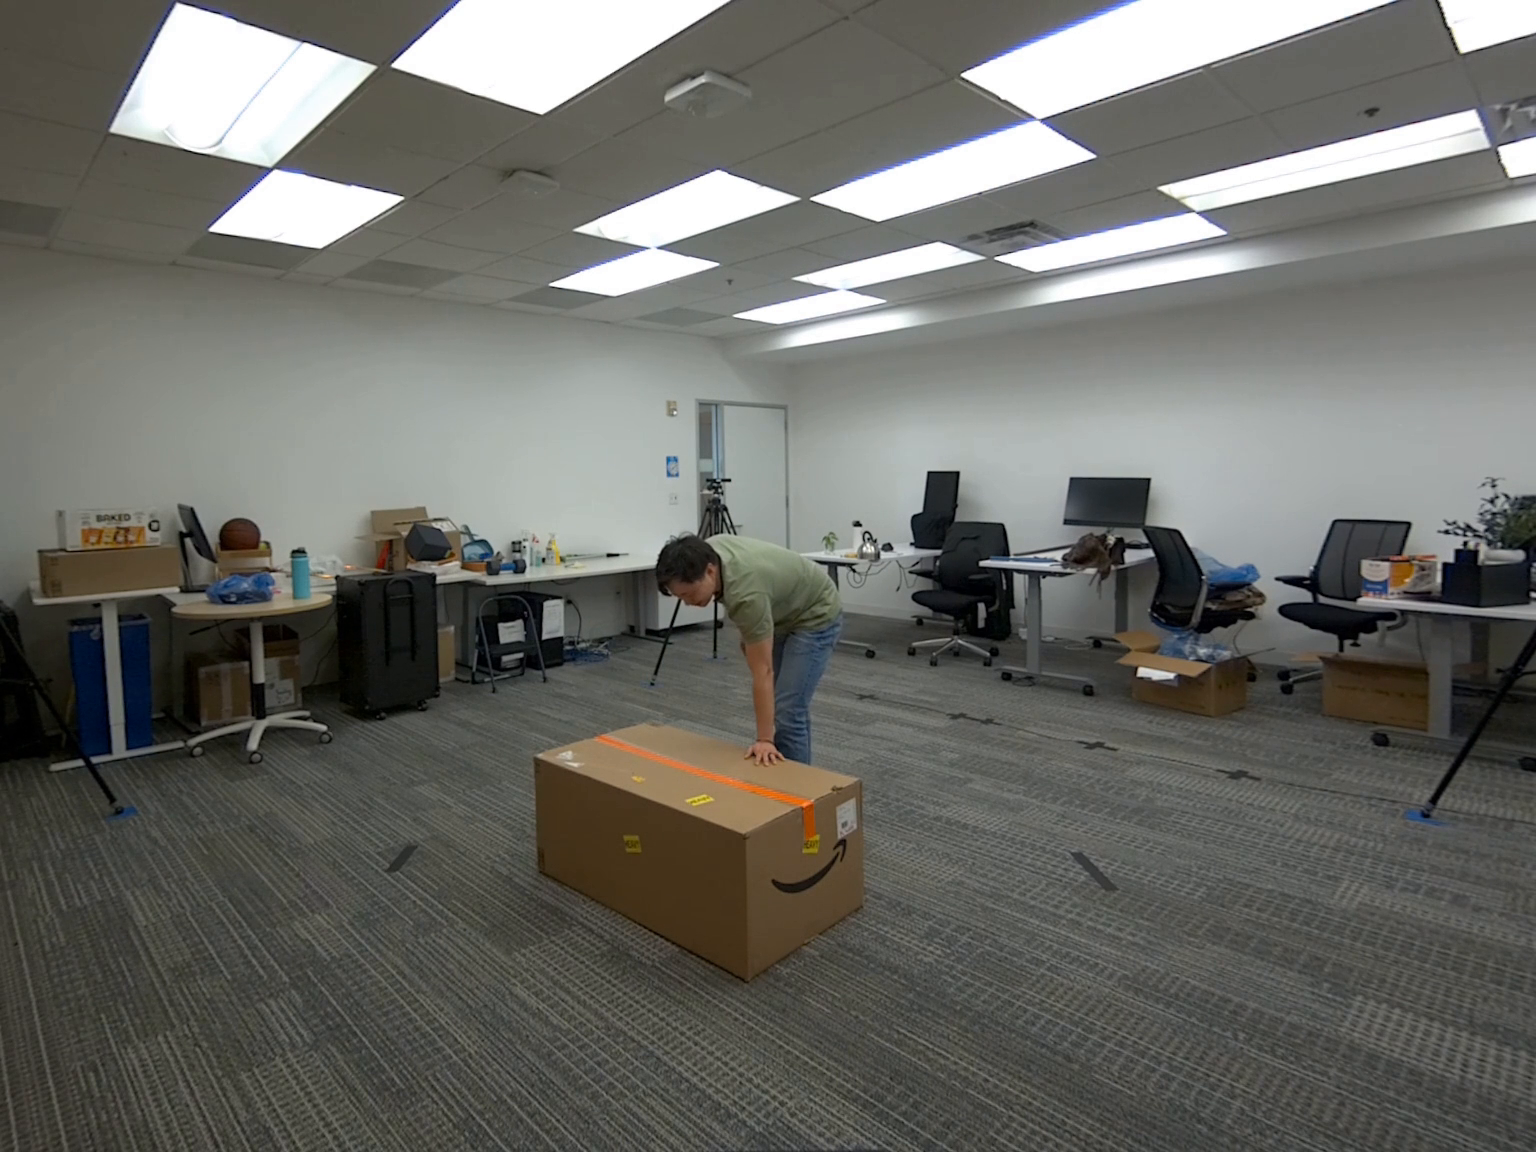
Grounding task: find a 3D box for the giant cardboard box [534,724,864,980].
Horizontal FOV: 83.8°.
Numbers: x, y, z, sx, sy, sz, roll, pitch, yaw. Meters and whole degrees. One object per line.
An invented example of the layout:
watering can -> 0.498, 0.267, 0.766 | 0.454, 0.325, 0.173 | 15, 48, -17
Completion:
giant cardboard box -> -0.261, 0.857, 2.918 | 1.058, 0.424, 0.562 | 5, 8, 42
